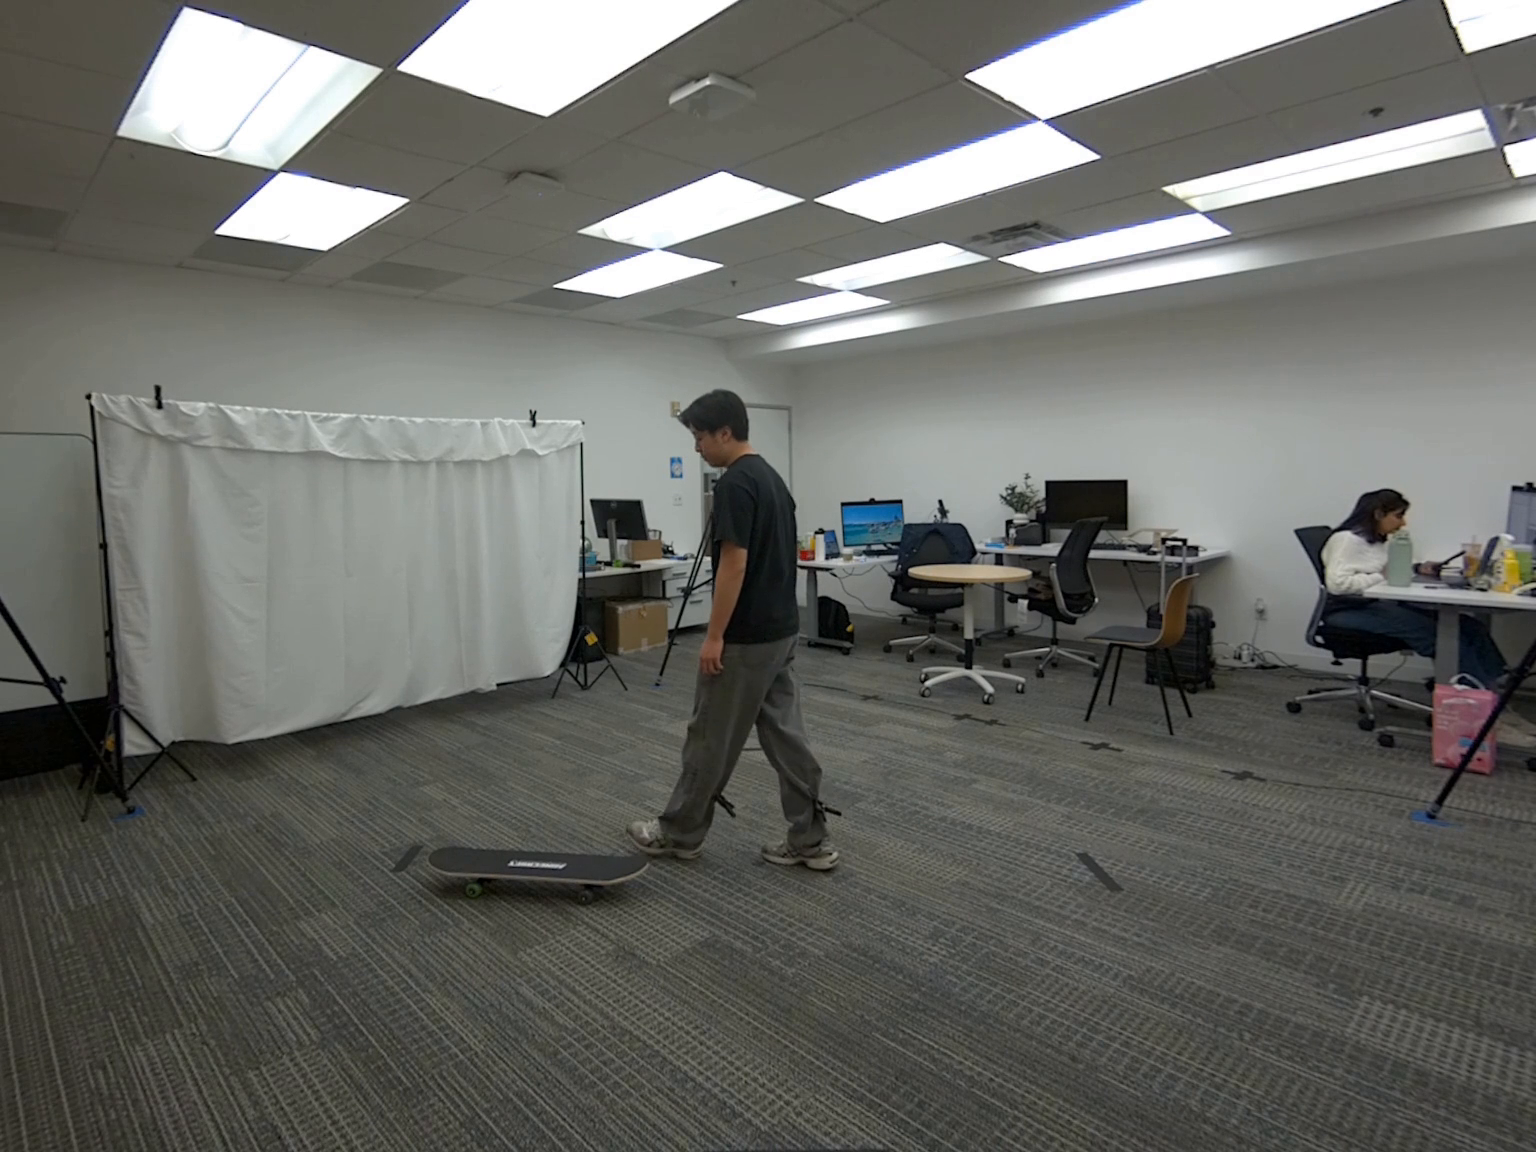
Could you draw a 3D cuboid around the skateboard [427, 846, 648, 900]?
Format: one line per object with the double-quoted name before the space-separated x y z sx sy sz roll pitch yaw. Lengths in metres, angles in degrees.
"skateboard" -0.792 1.026 2.941 0.793 0.110 0.193 0 7 10
